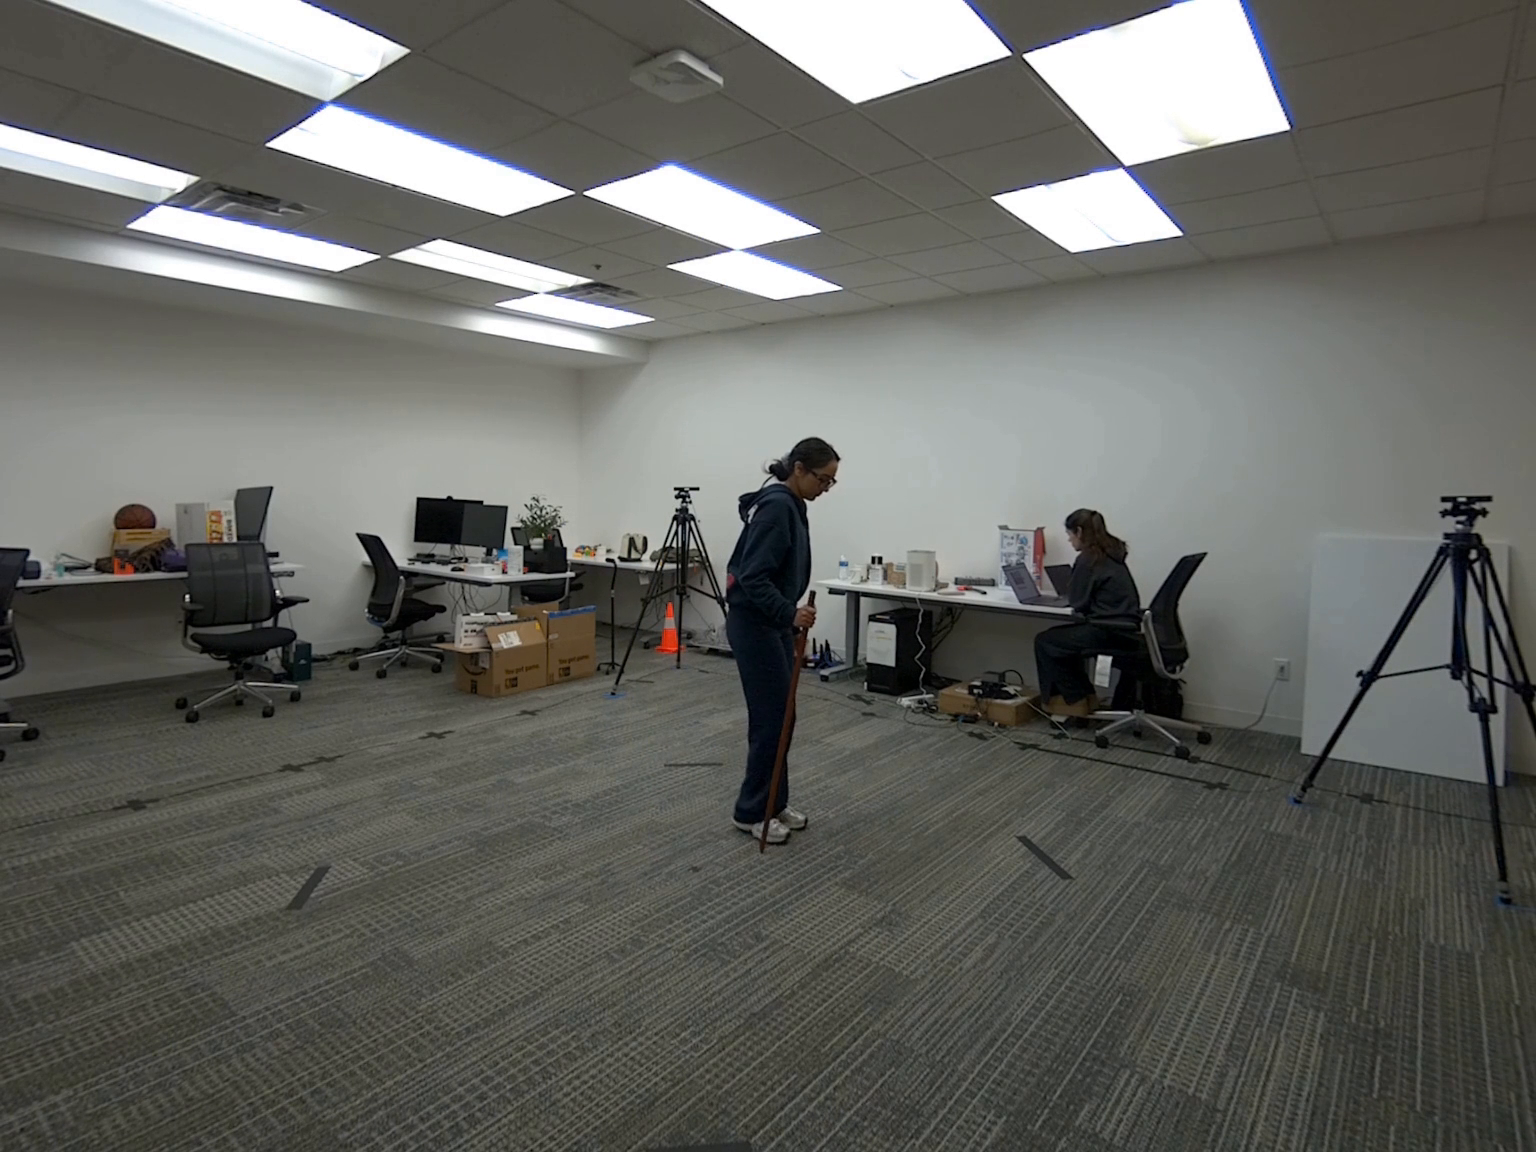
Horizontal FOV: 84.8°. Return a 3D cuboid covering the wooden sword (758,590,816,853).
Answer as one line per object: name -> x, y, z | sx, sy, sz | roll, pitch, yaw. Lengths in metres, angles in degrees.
wooden sword -> 0.066, 0.560, 3.224 | 0.023, 1.020, 0.053 | 5, 8, -45
